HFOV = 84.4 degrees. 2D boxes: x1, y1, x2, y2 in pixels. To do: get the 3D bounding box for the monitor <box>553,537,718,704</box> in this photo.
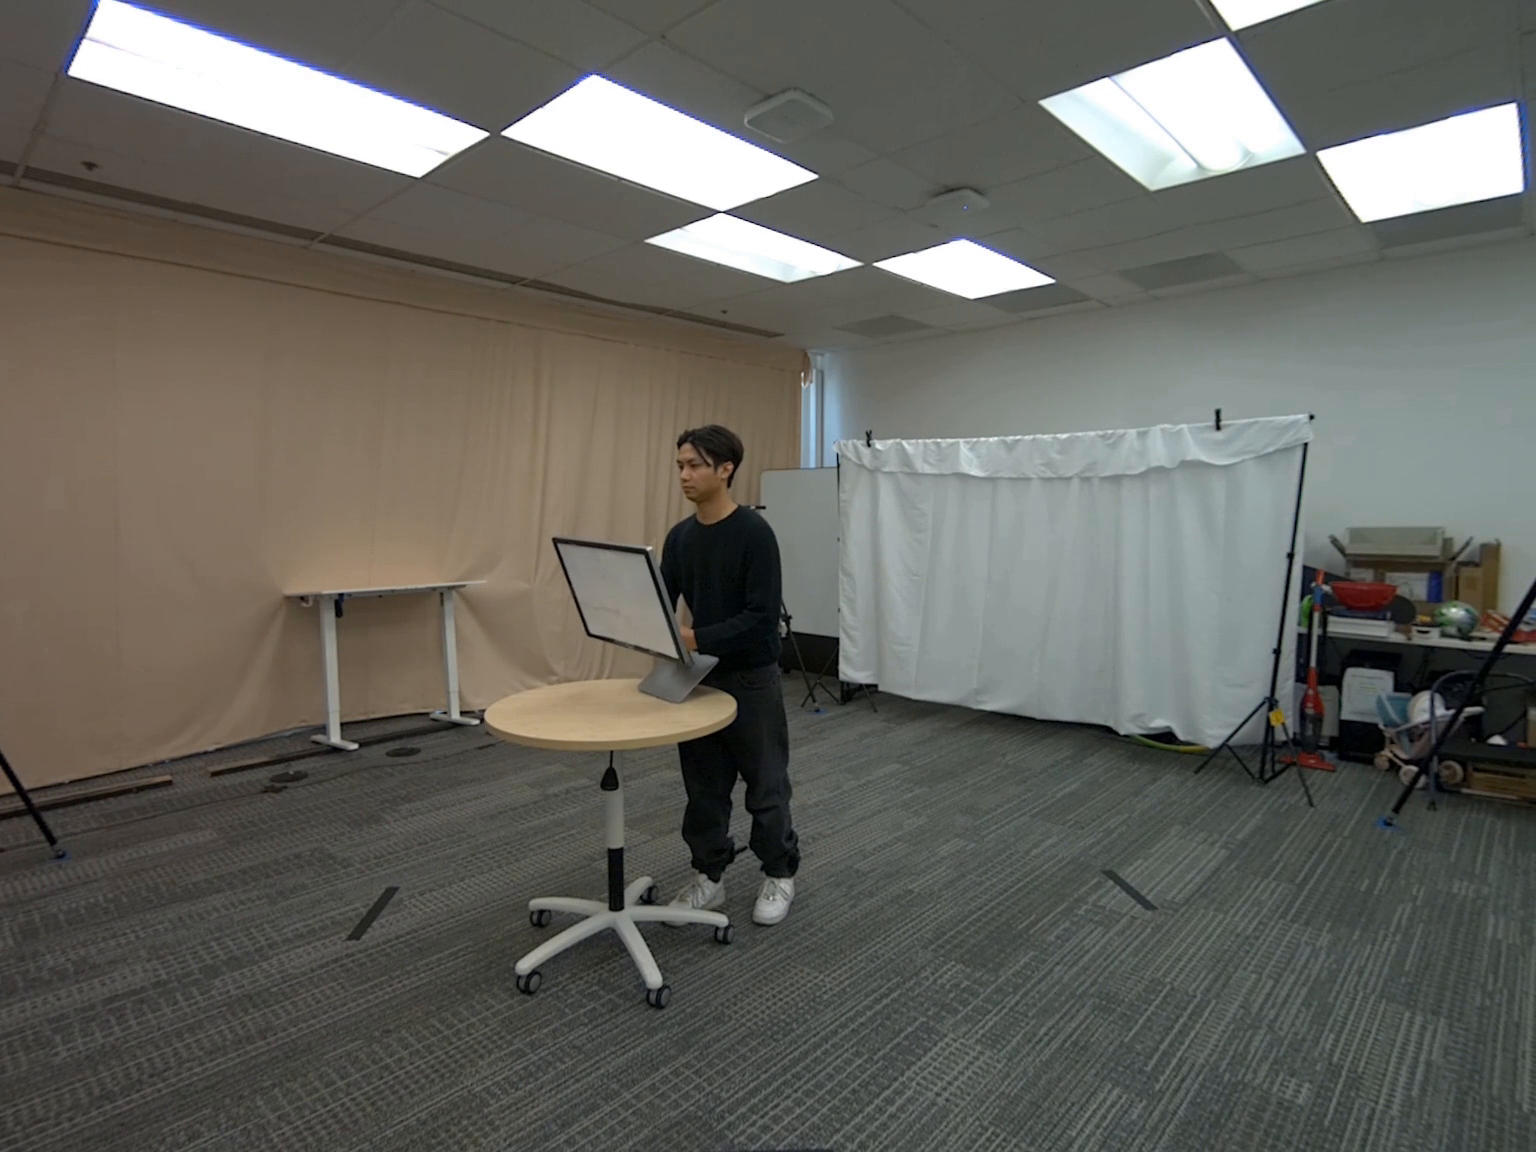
[{"bbox_3d":[-0.407,0.114,2.624,0.557,0.510,0.185,5,41,49],"label":"monitor"}]
